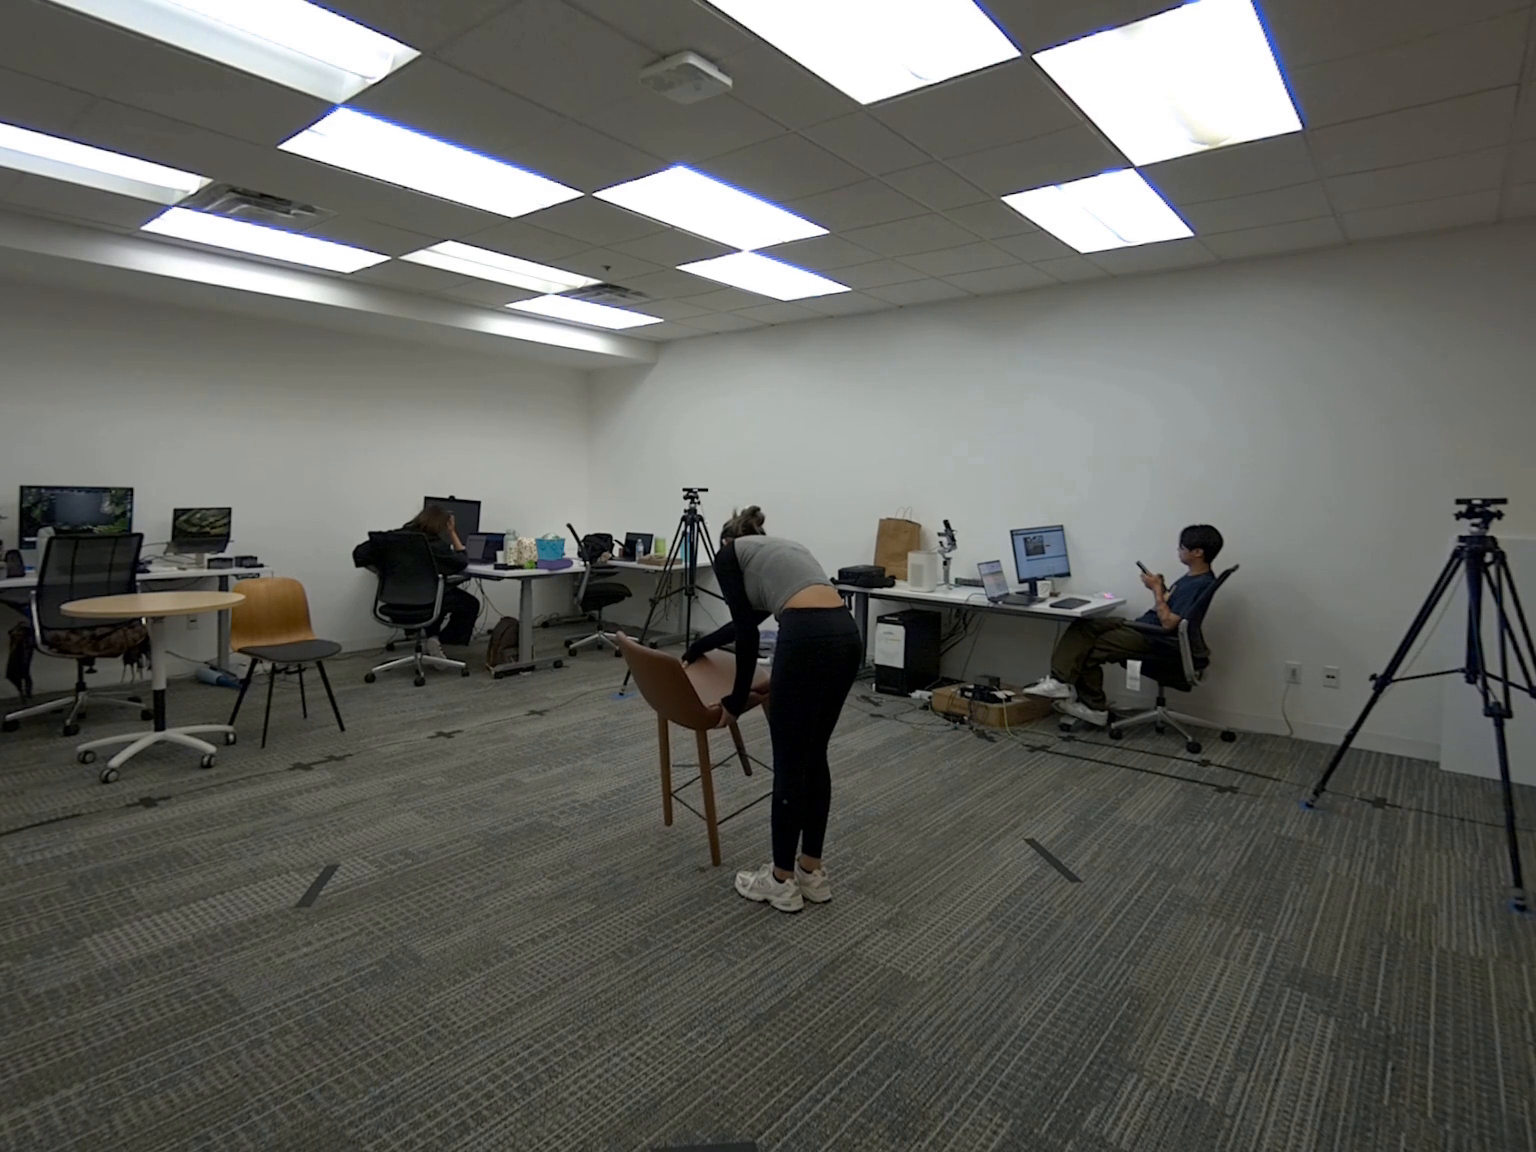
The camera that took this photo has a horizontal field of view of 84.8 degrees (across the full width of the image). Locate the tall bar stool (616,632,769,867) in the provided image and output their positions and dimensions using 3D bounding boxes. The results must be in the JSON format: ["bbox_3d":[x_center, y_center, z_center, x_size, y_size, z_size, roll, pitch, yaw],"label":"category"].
[{"bbox_3d":[-0.224,0.565,3.270,0.460,0.872,0.473,-23,21,-31],"label":"tall bar stool"}]
